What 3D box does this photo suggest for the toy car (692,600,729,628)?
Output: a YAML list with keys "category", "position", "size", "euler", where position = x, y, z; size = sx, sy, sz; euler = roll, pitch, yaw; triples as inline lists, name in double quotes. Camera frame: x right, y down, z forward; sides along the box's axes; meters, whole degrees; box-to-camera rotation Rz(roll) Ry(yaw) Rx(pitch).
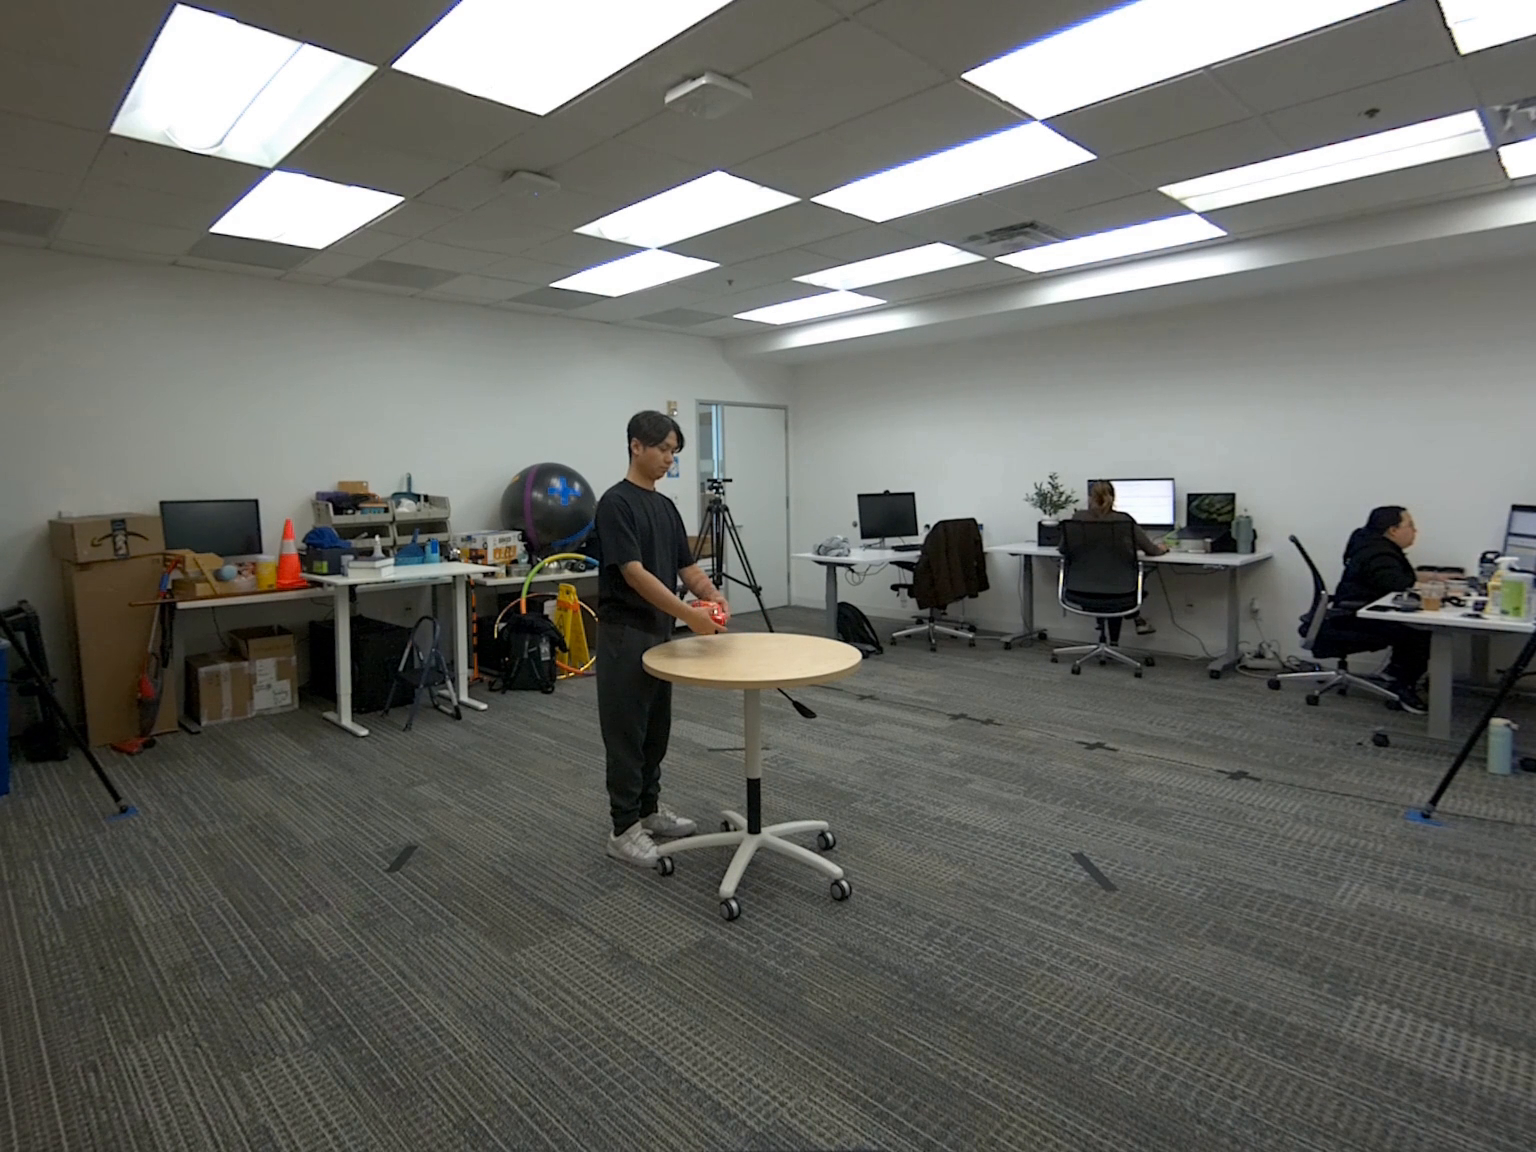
- category: "toy car"
  position: [-0.206, 0.145, 3.099]
  size: [0.129, 0.083, 0.256]
  euler: [5, 1, -8]
